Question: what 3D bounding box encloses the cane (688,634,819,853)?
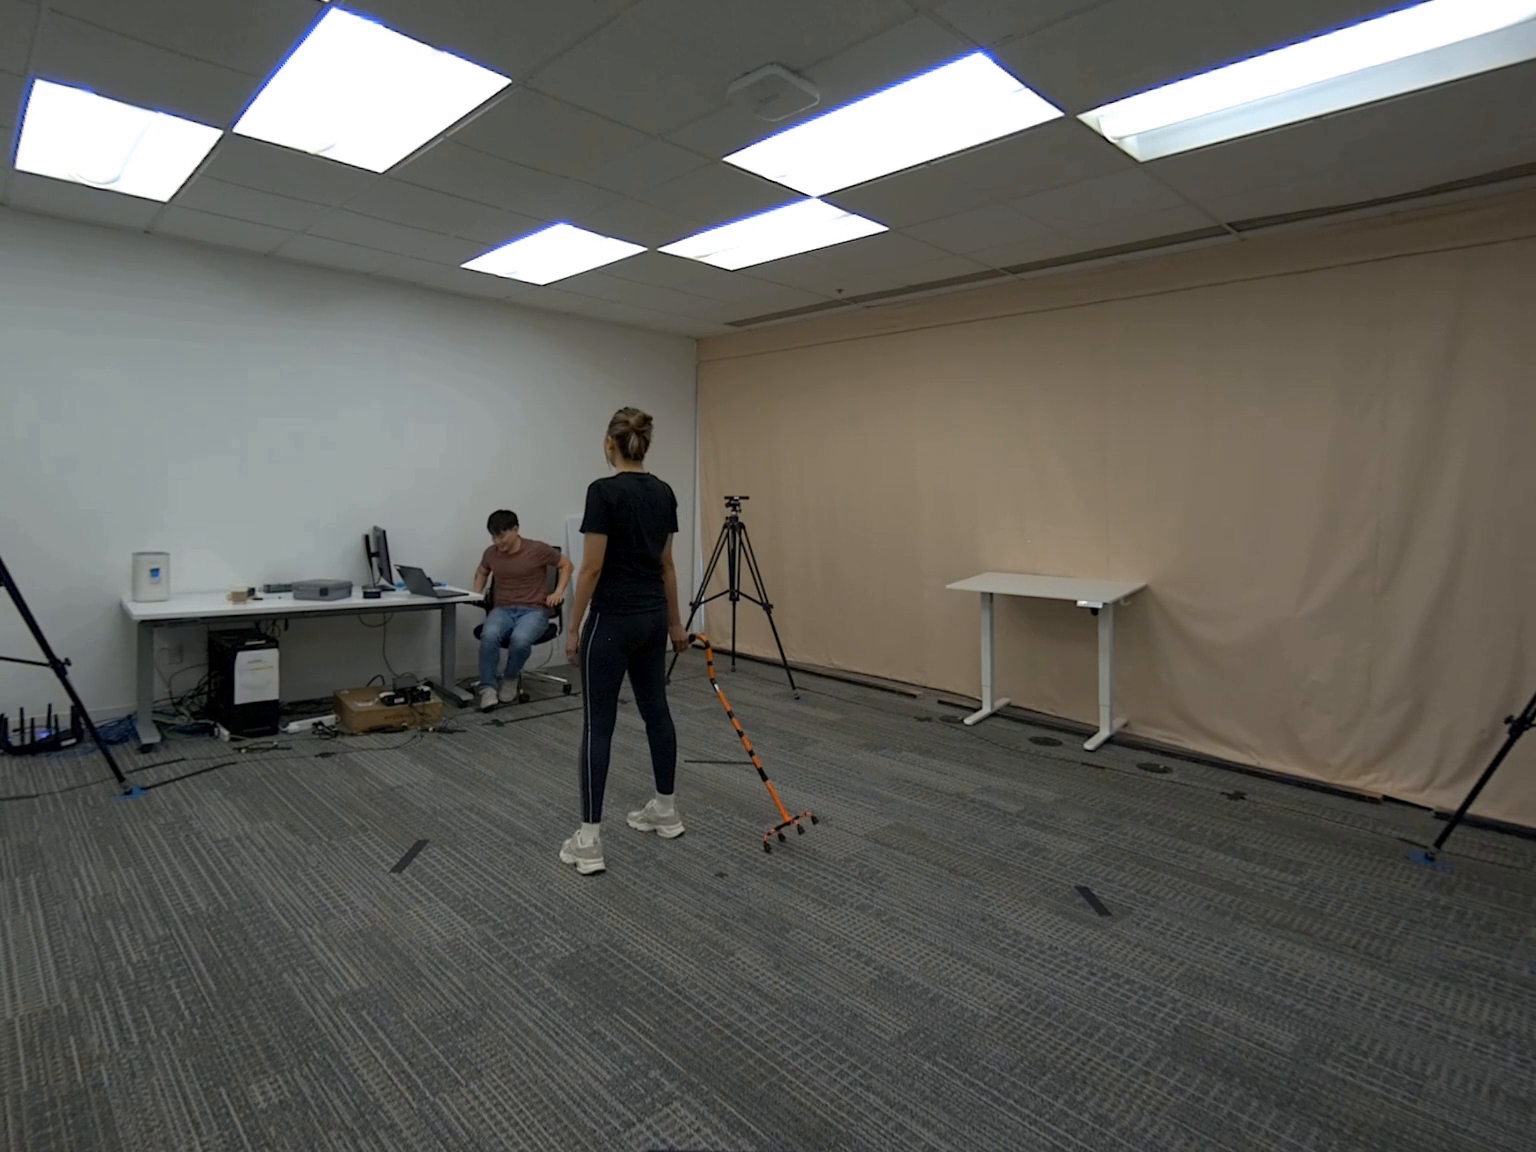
[{"bbox_3d":[-0.127,0.648,3.446,0.207,0.922,0.148,-38,-17,27],"label":"cane"}]
